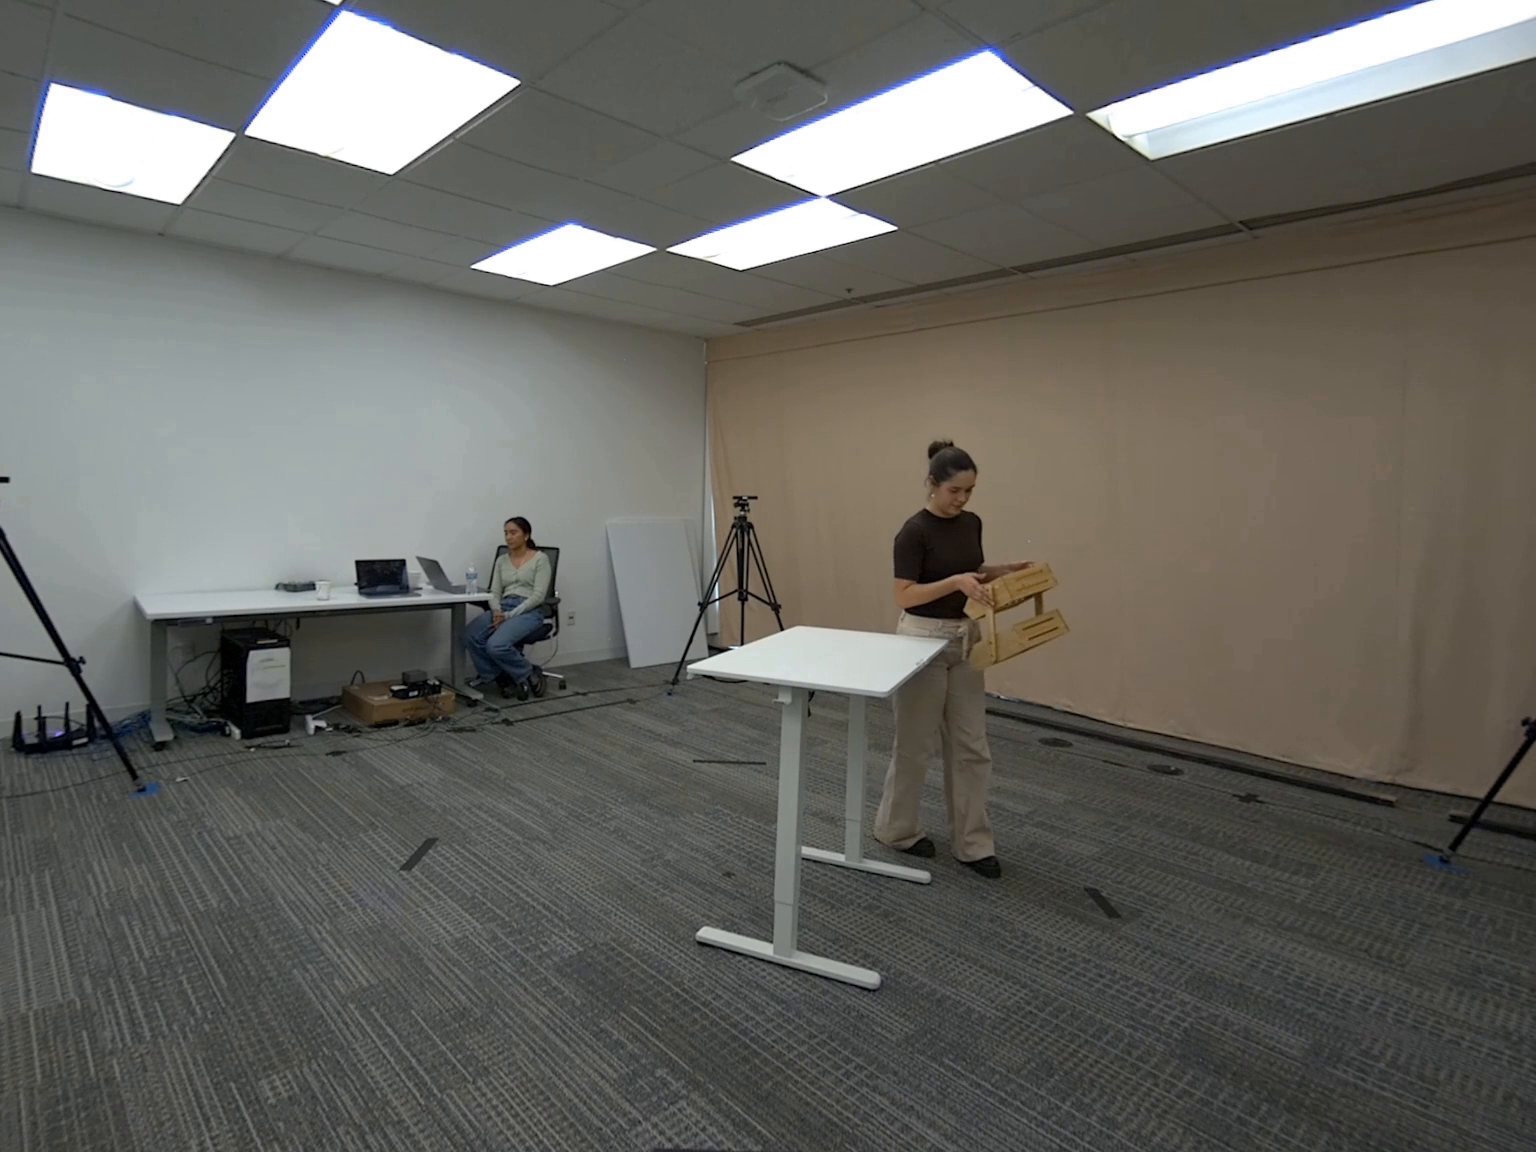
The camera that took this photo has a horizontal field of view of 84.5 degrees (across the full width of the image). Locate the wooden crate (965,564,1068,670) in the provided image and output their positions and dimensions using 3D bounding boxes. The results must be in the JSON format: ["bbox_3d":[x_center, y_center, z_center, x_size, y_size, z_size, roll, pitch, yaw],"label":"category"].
[{"bbox_3d":[0.873,0.148,3.115,0.318,0.277,0.303,-12,-18,-40],"label":"wooden crate"}]
